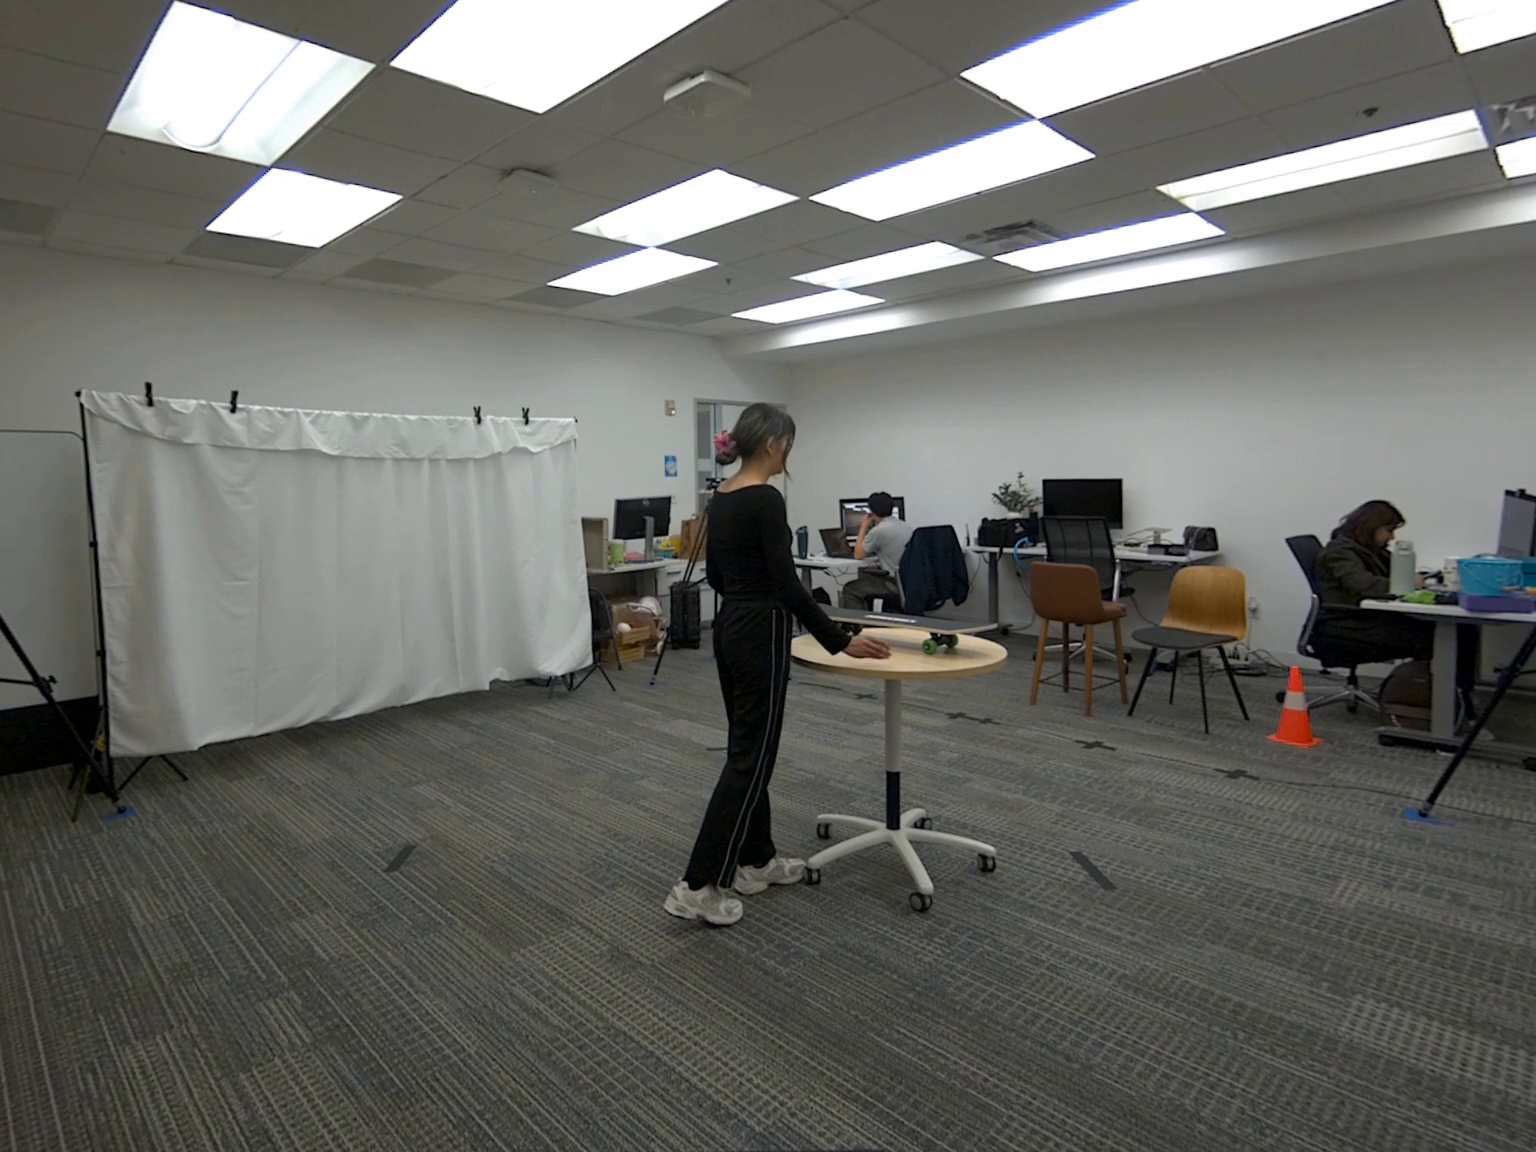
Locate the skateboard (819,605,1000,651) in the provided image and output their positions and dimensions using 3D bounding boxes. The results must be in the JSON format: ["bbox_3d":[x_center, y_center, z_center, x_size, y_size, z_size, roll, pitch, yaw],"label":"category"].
[{"bbox_3d":[0.444,0.194,3.080,0.809,0.110,0.188,4,7,41],"label":"skateboard"}]
